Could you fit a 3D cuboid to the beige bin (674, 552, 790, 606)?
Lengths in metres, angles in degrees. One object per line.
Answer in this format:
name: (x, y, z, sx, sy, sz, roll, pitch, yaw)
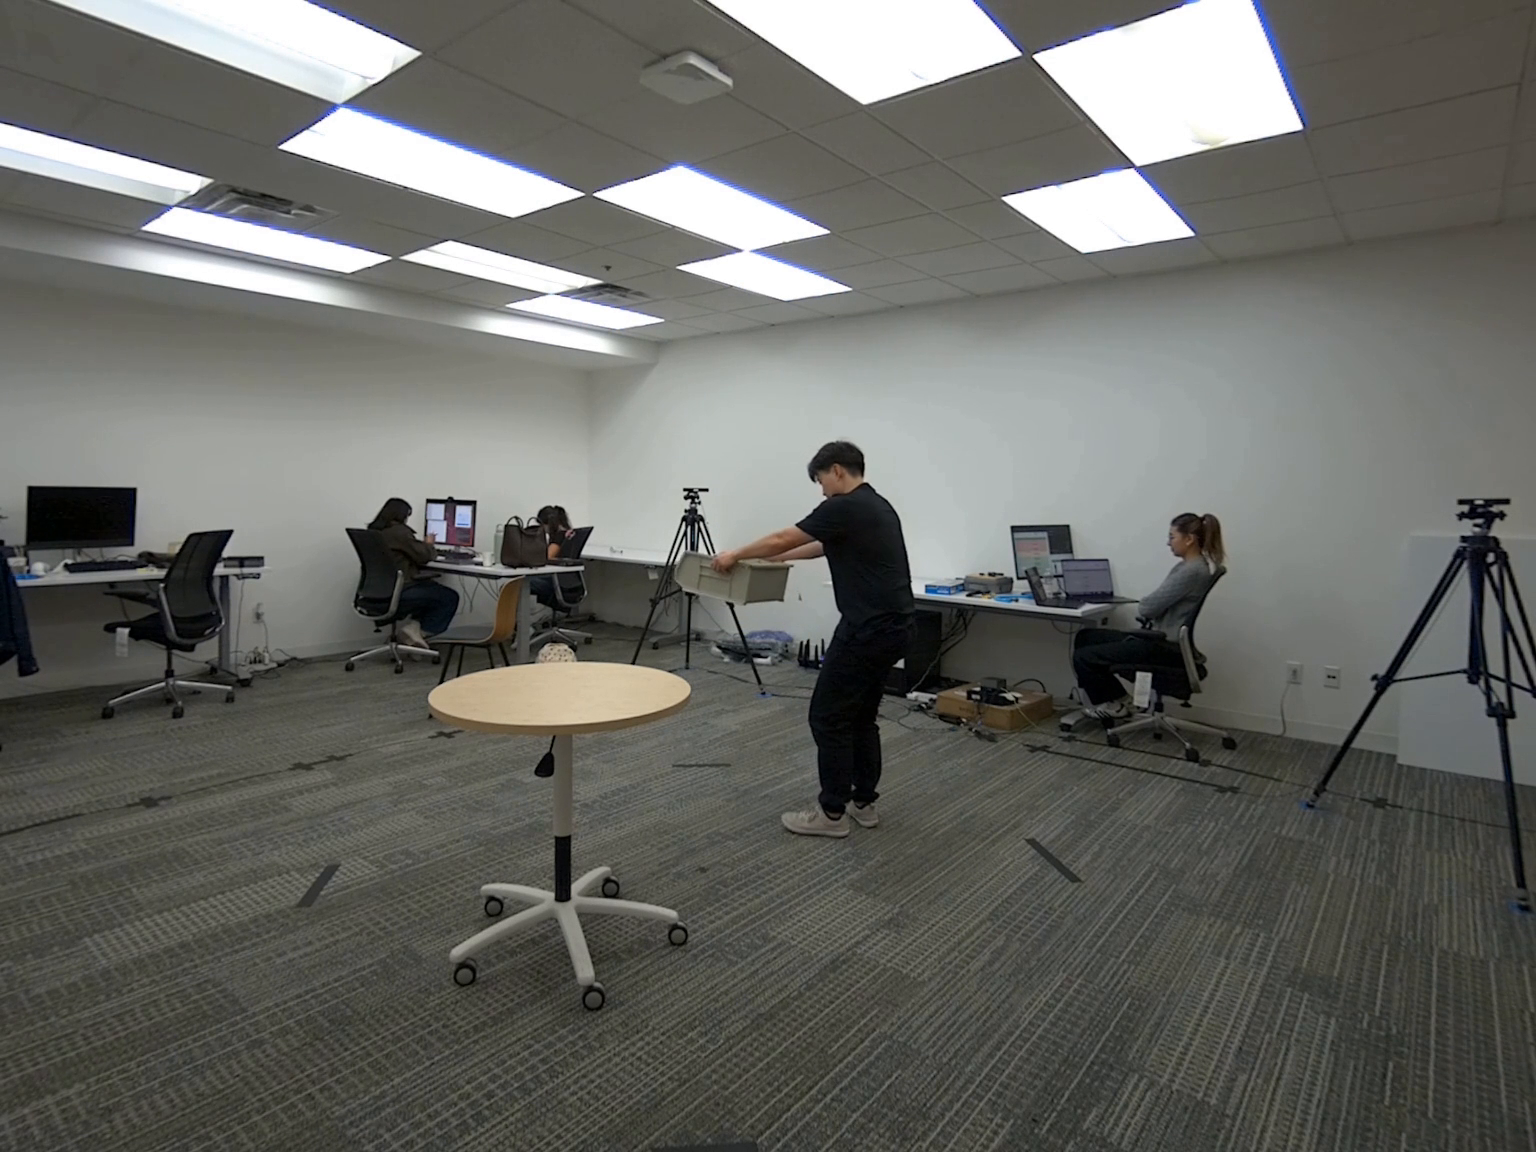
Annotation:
beige bin: (-0.169, -0.001, 3.865, 0.389, 0.188, 0.411, 14, 7, 27)
